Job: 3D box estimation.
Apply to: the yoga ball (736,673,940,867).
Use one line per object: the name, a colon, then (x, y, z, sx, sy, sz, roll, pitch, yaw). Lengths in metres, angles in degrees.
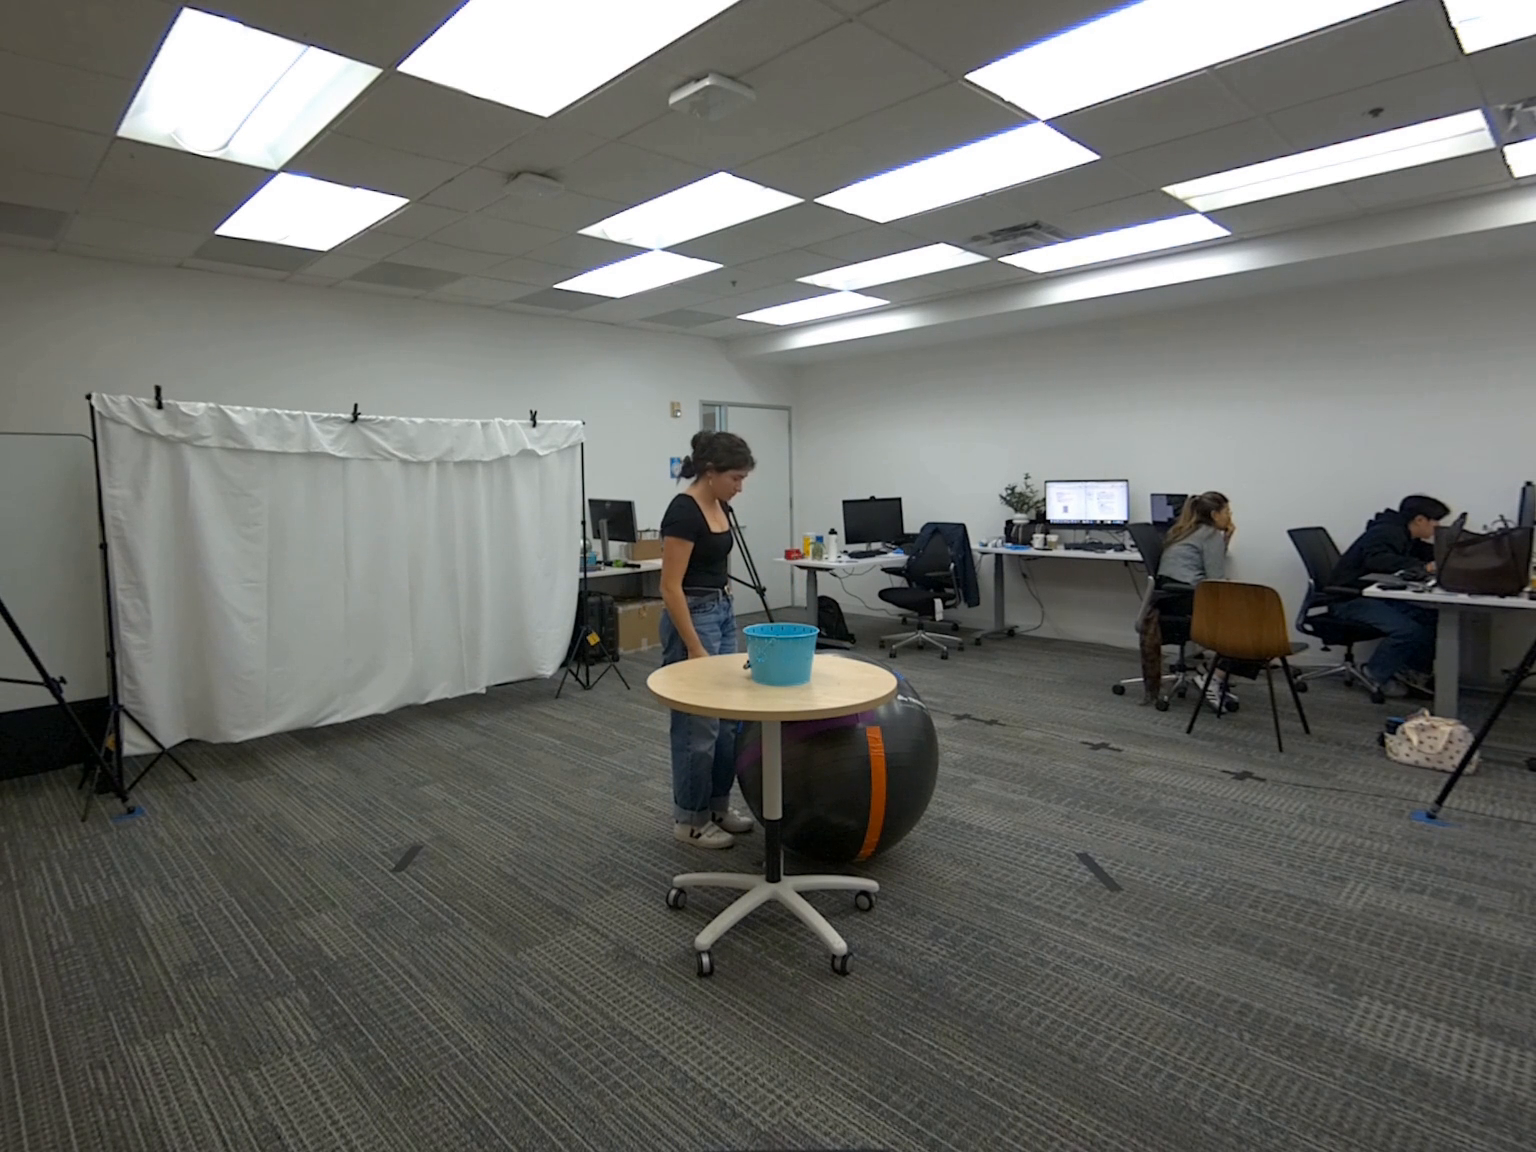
yoga ball: (0.254, 0.671, 3.190, 0.757, 0.755, 0.762, -1, 5, -2)
